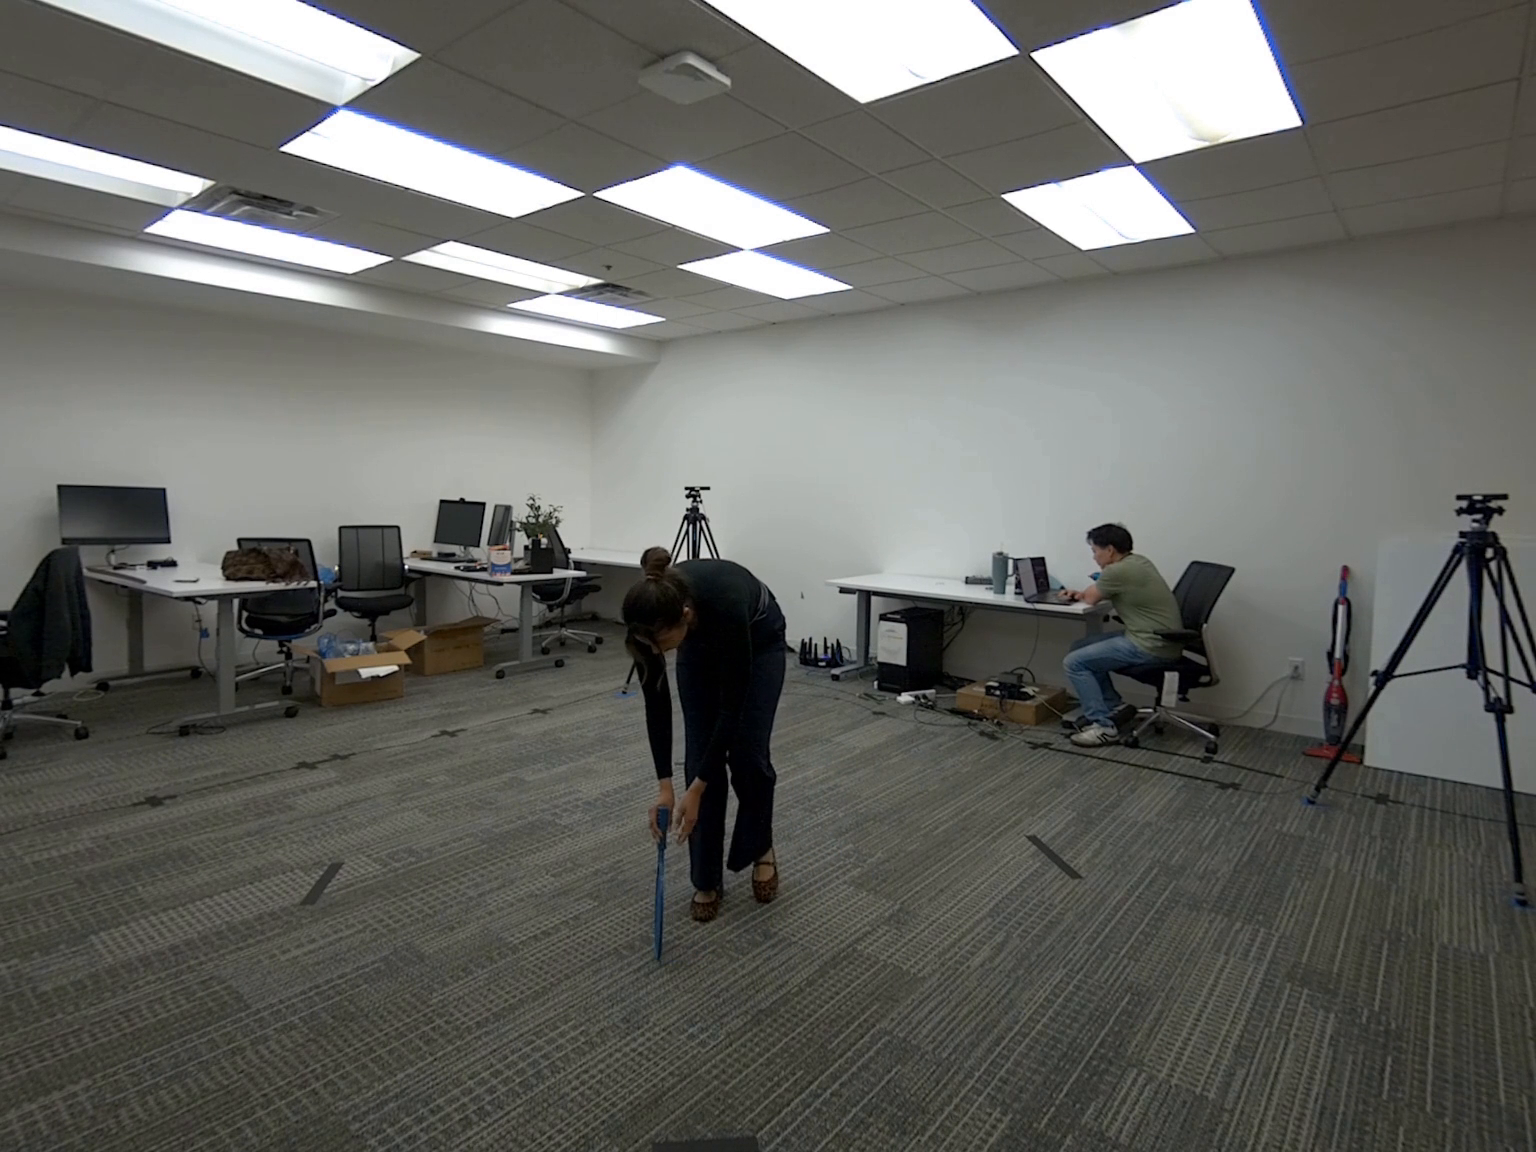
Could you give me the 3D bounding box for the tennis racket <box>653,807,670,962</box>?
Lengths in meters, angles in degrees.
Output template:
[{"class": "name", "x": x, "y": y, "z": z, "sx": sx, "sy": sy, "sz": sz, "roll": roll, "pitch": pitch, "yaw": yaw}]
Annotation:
[{"class": "tennis racket", "x": -0.322, "y": 0.903, "z": 2.534, "sx": 0.031, "sy": 0.435, "sz": 0.214, "roll": 2, "pitch": -6, "yaw": -9}]
